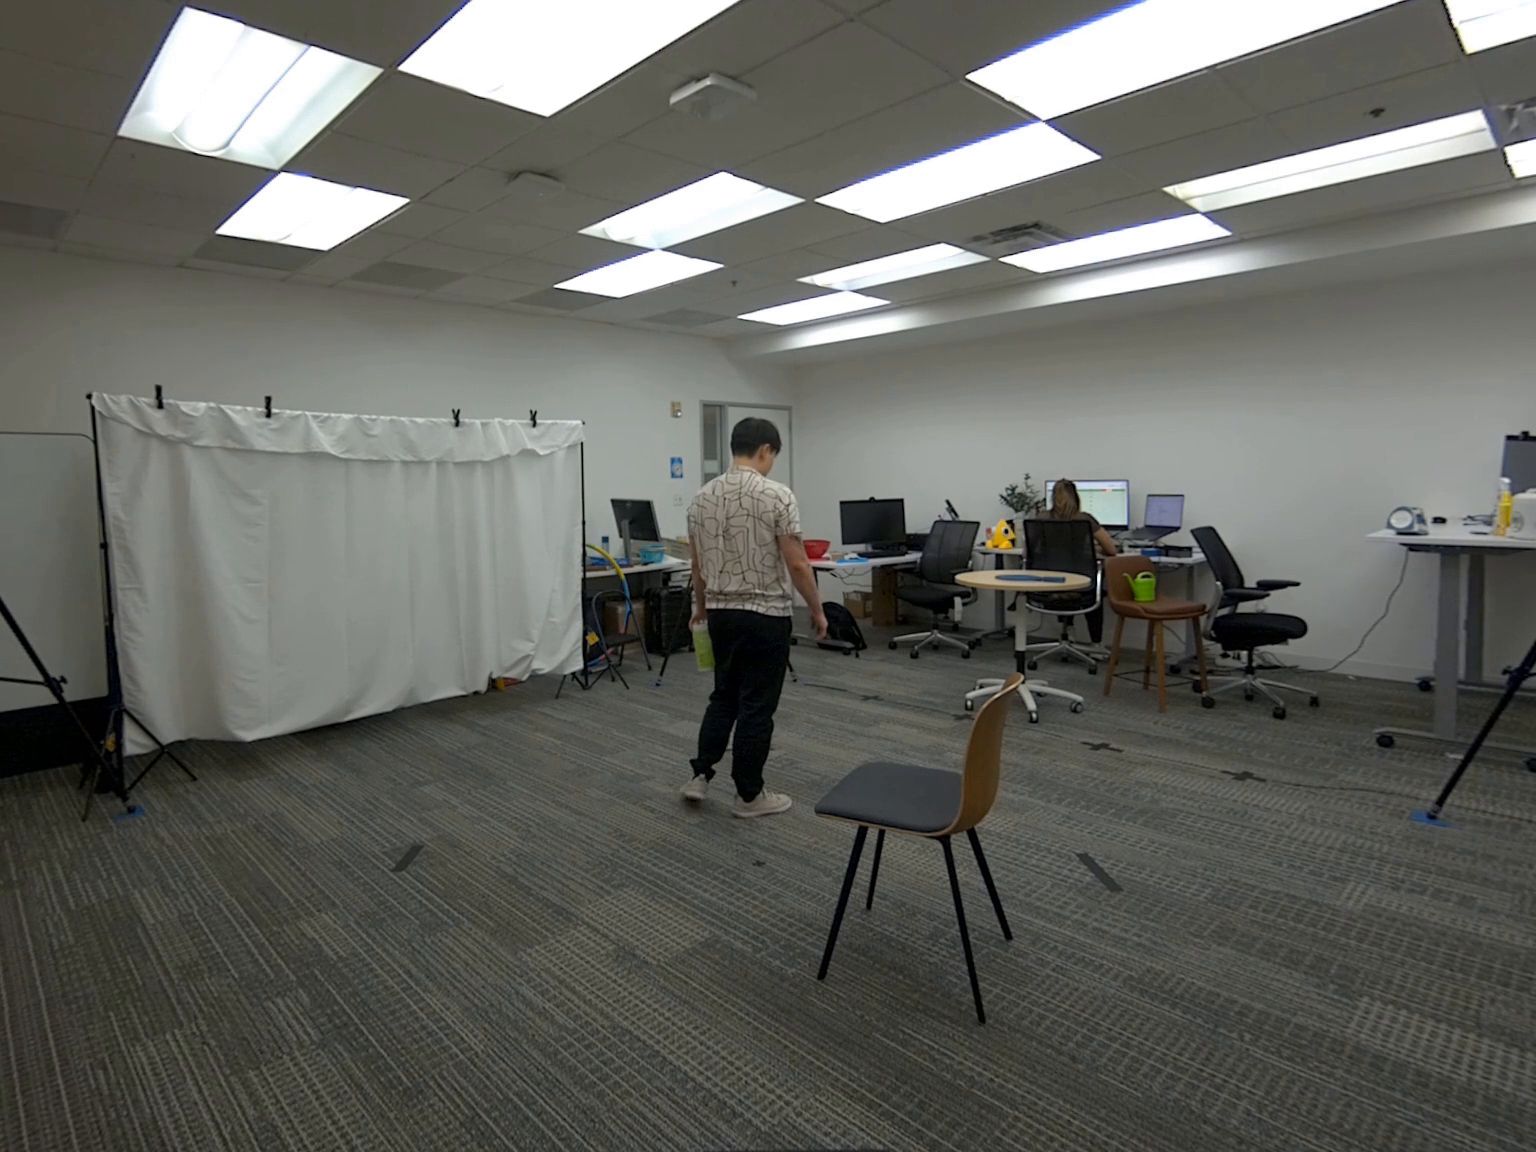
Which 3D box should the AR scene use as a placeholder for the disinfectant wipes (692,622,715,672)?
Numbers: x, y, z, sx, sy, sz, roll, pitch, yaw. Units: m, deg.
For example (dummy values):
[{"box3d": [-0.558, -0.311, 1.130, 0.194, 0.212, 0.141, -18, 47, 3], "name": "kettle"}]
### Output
[{"box3d": [-0.289, 0.321, 3.832, 0.118, 0.216, 0.118, -8, 5, -1], "name": "disinfectant wipes"}]
